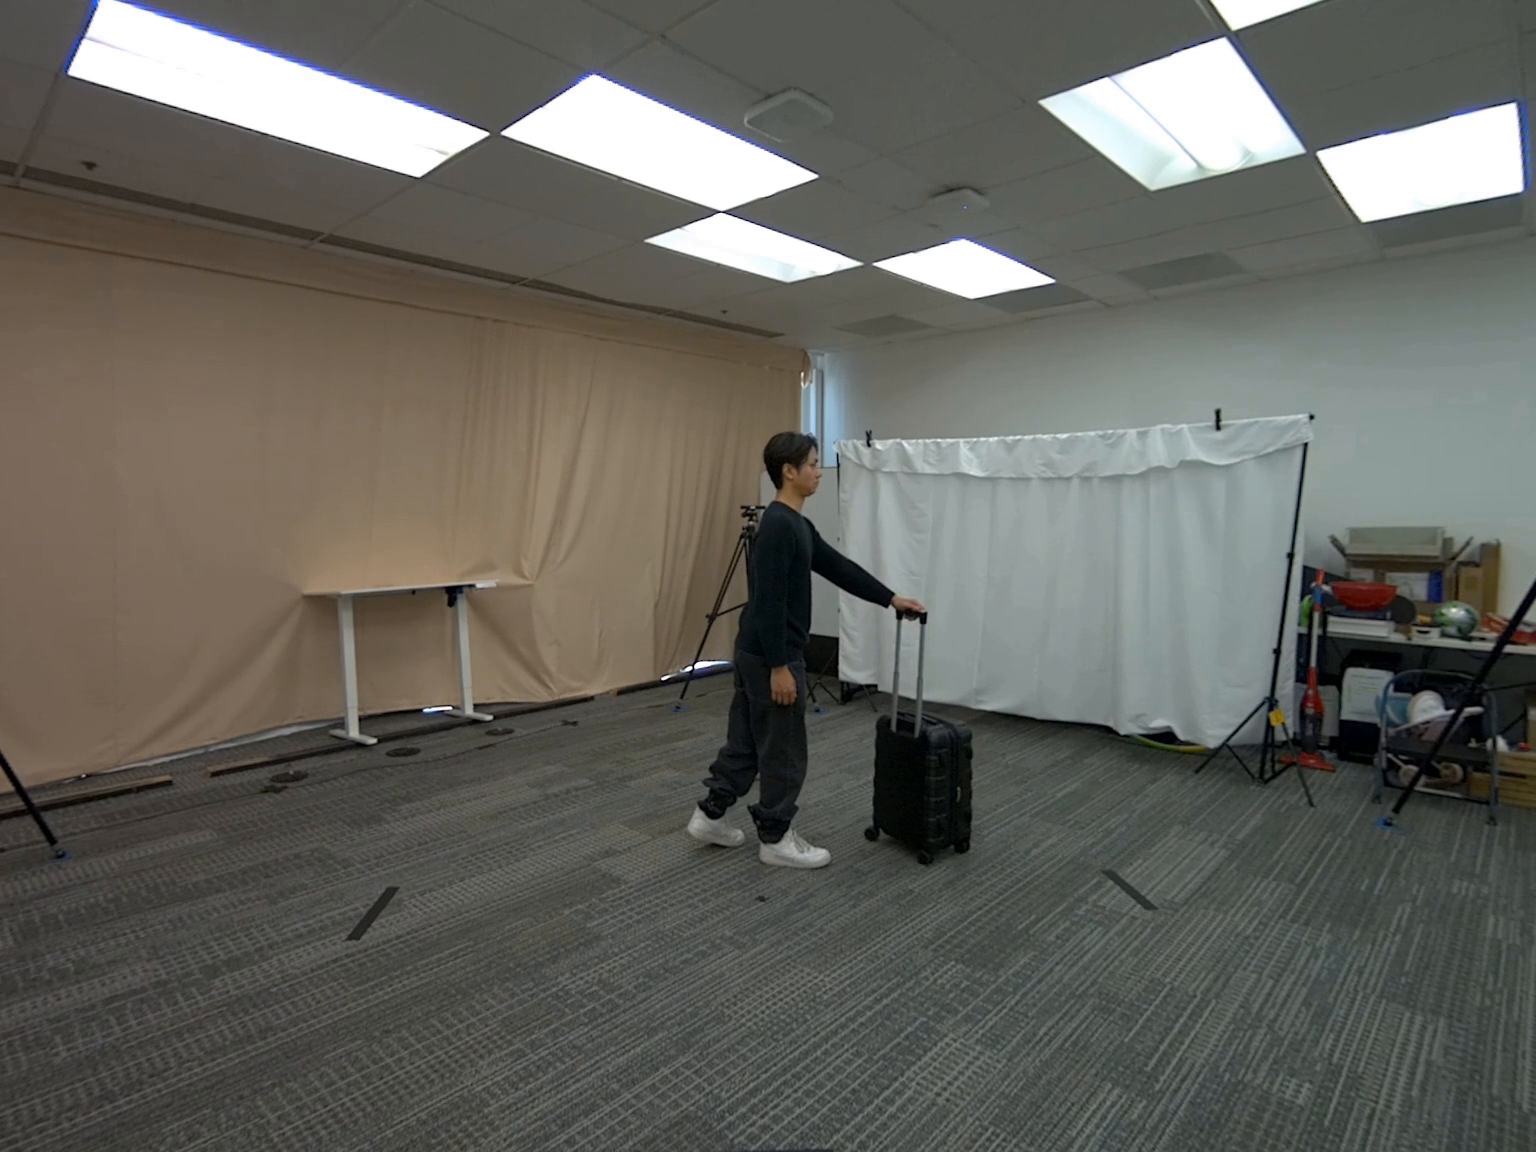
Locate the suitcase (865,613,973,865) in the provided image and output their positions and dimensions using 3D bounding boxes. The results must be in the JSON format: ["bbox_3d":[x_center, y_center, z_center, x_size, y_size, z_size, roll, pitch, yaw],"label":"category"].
[{"bbox_3d":[0.641,0.629,3.421,0.249,0.977,0.396,2,3,-33],"label":"suitcase"}]
